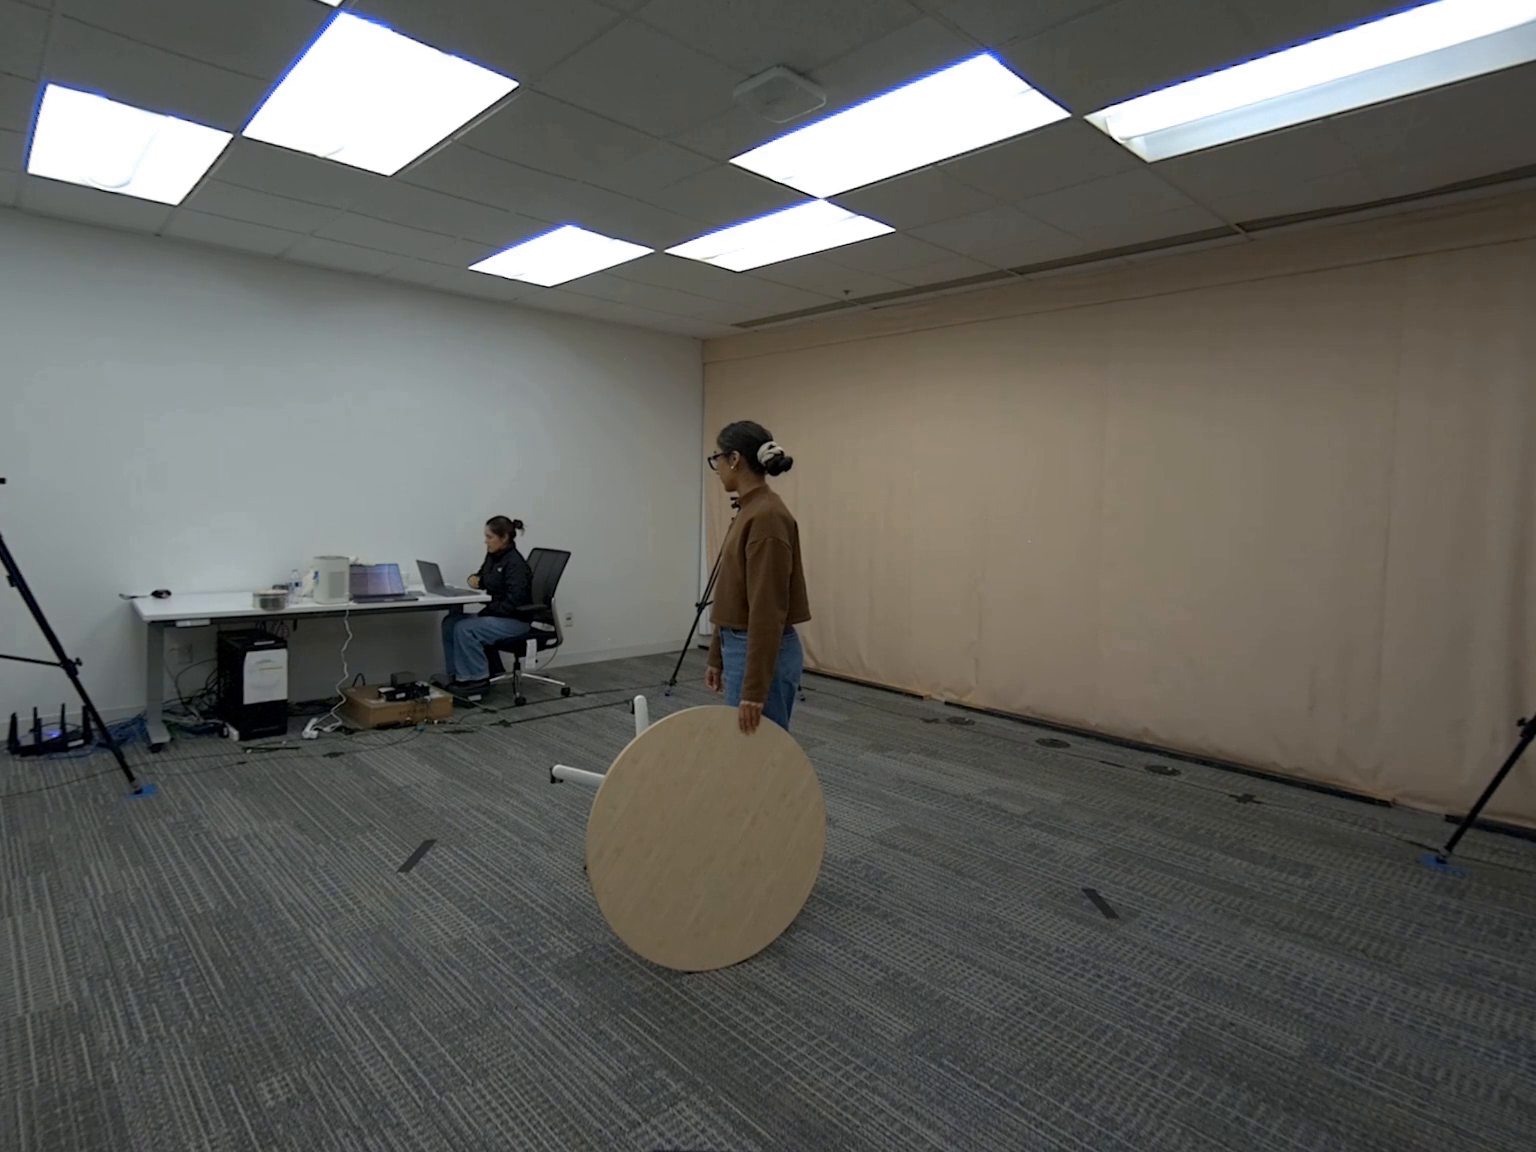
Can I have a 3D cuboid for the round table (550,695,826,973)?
[{"bbox_3d":[-0.340,0.791,2.870,0.750,0.766,0.806,-1,-3,-25],"label":"round table"}]
